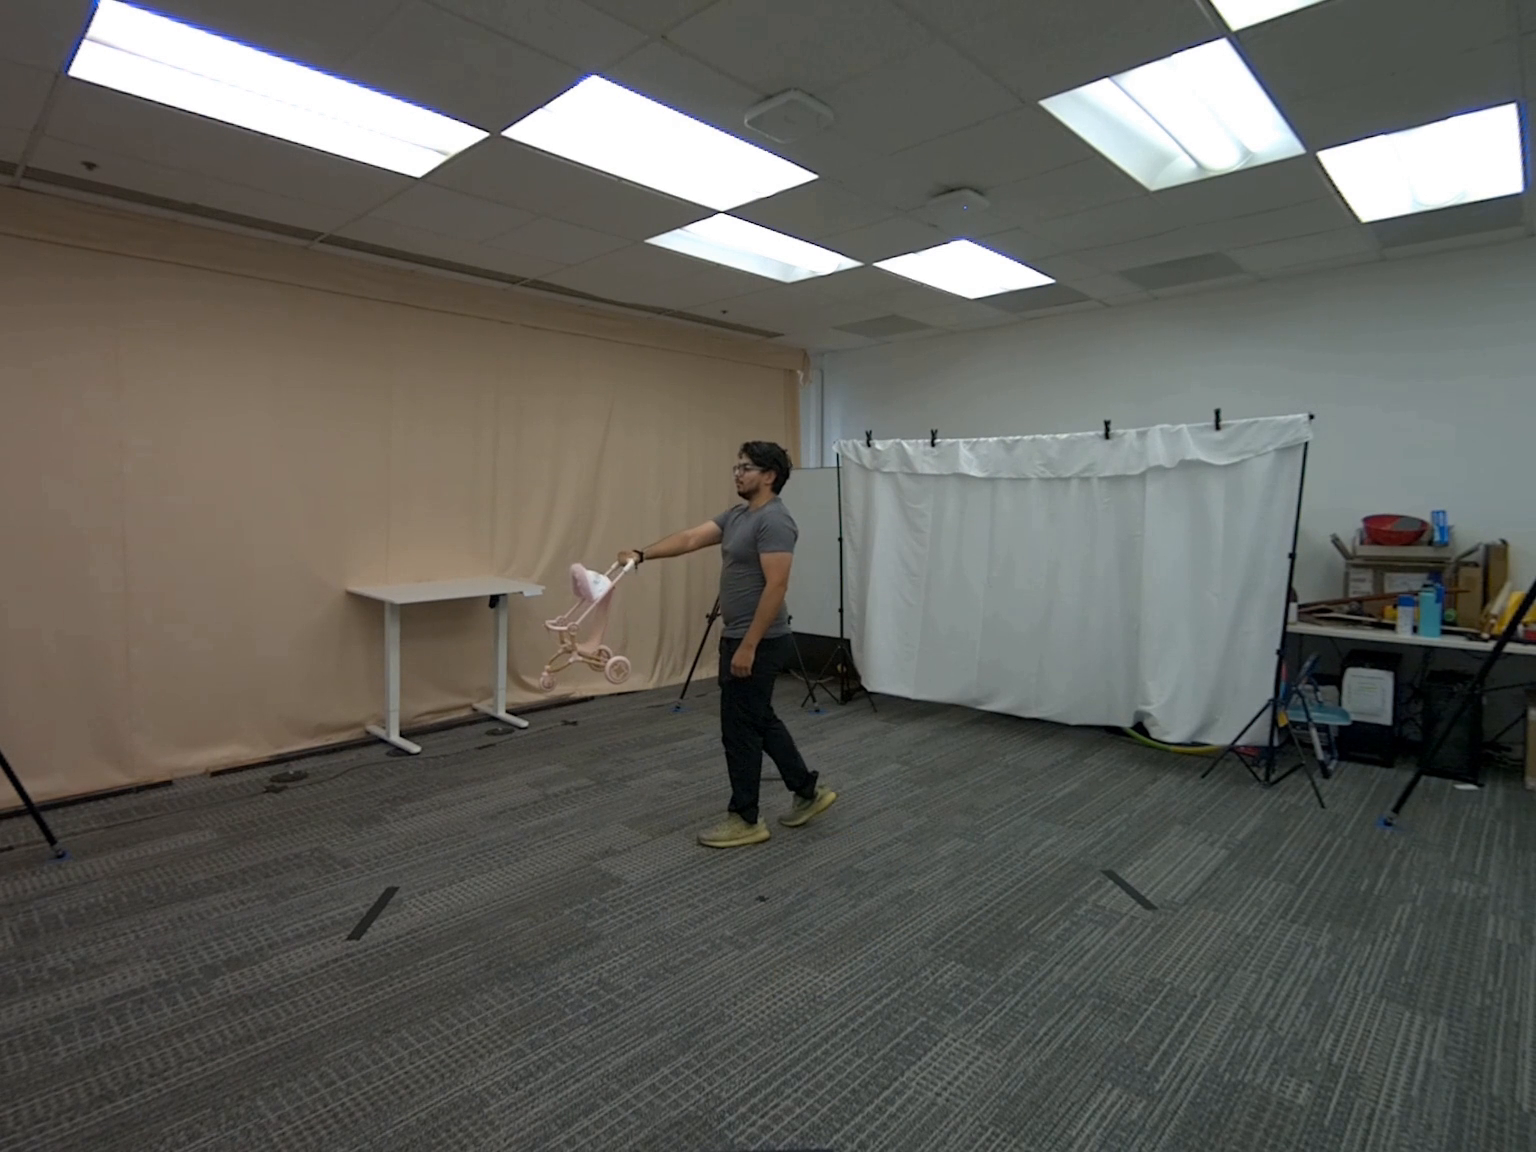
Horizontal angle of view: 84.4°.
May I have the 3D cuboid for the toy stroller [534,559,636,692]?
[{"bbox_3d":[-0.710,0.189,3.321,0.334,0.534,0.288,3,2,-21],"label":"toy stroller"}]
